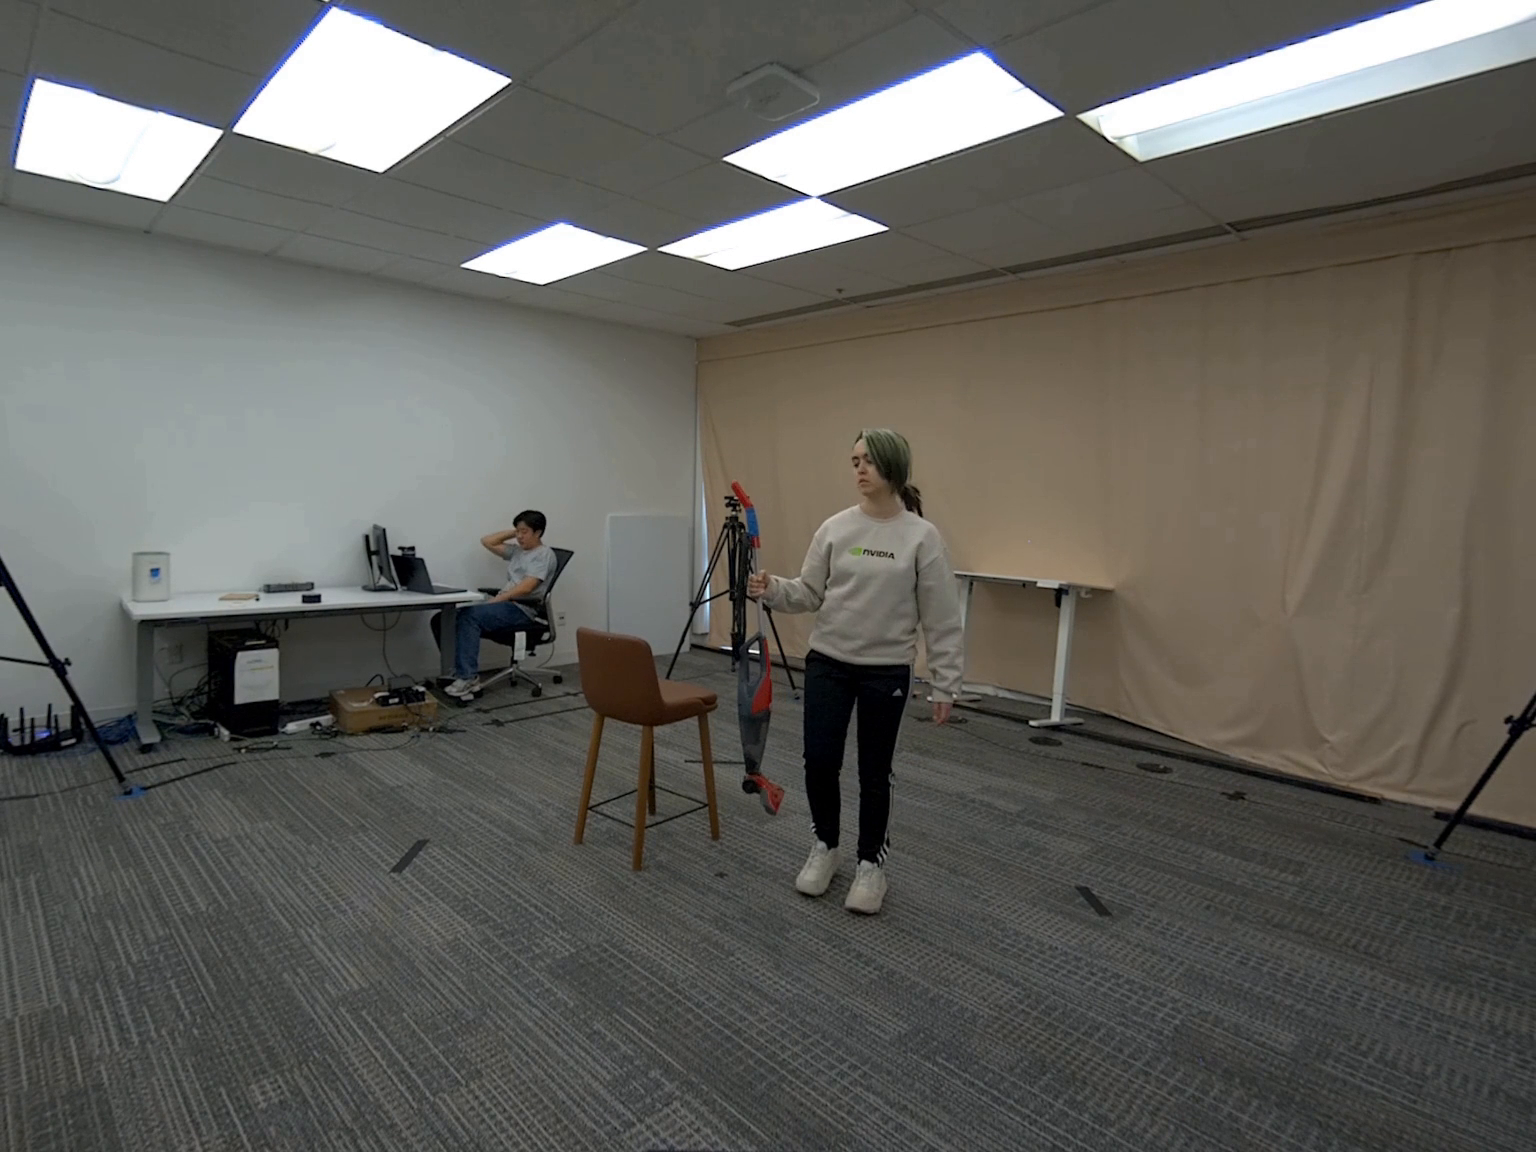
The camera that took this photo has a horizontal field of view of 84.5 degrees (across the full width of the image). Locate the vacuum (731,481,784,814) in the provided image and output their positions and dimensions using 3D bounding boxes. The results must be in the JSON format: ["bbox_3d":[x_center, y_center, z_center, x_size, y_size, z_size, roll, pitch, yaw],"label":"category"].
[{"bbox_3d":[-0.071,0.207,2.858,0.143,1.049,0.253,-5,0,-4],"label":"vacuum"}]
